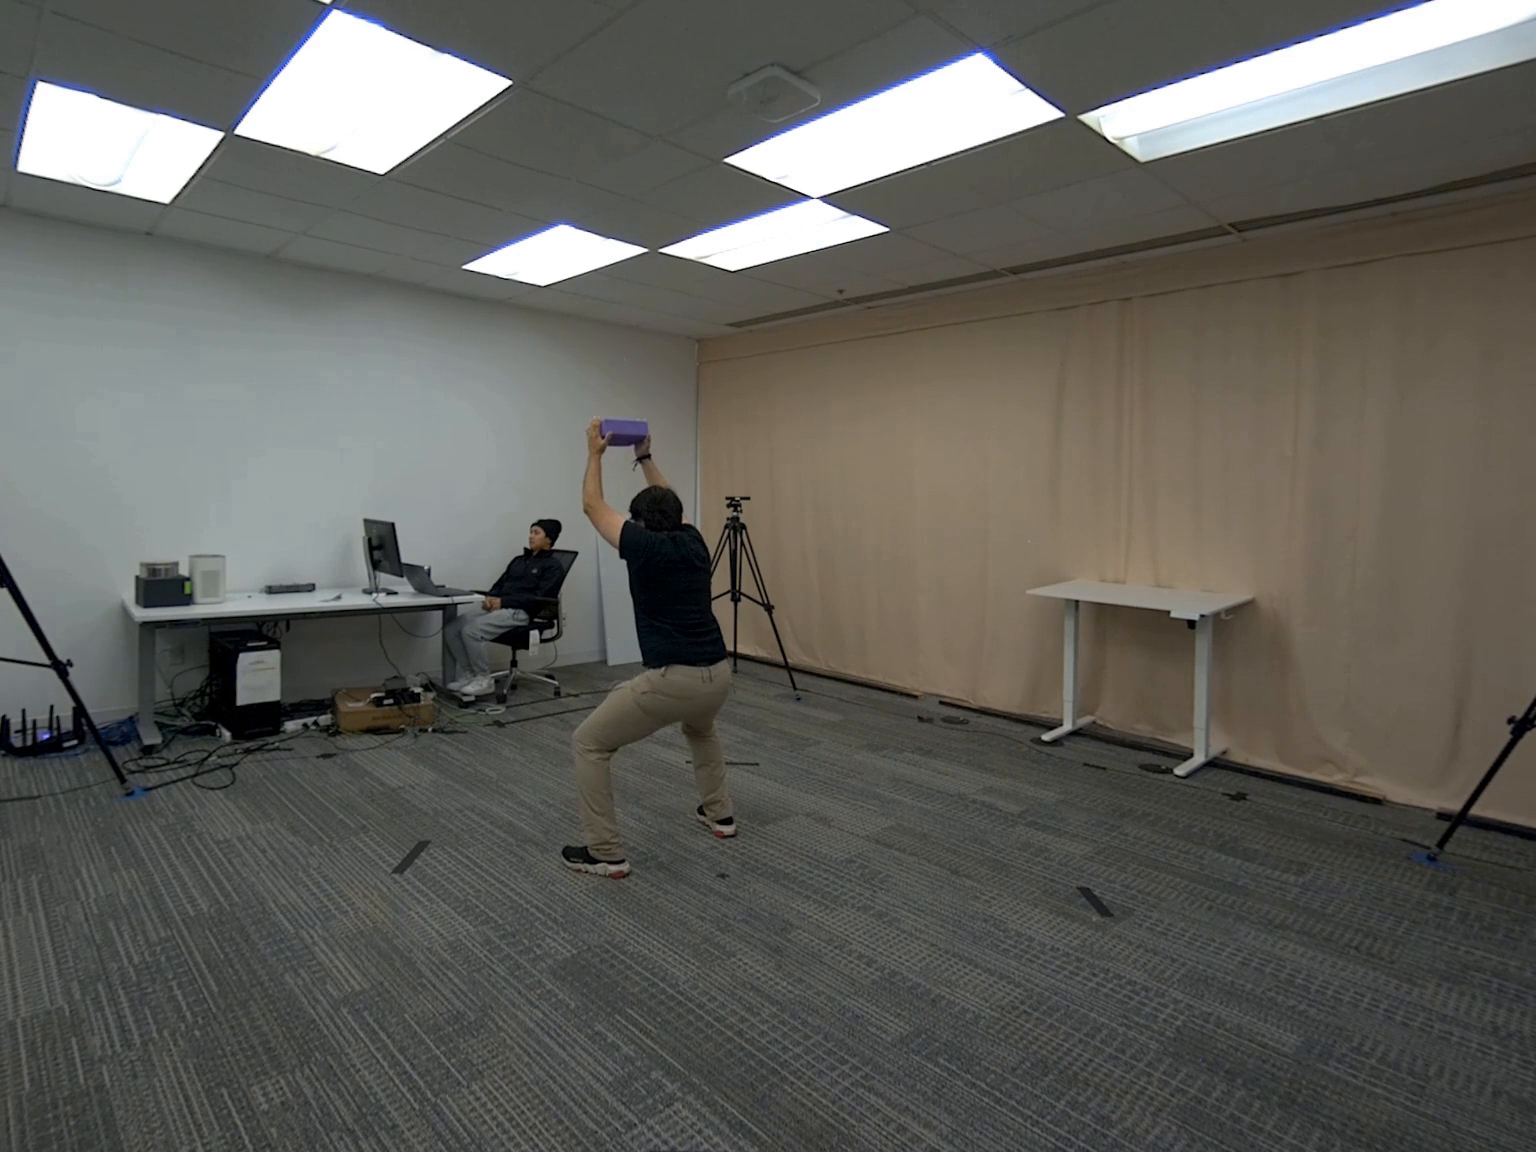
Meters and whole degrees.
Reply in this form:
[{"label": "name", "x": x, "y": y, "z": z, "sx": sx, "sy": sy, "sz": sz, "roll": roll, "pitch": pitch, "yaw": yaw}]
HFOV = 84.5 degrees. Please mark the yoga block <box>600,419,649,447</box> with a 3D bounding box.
[{"label": "yoga block", "x": -0.644, "y": -0.608, "z": 3.556, "sx": 0.151, "sy": 0.077, "sz": 0.224, "roll": -18, "pitch": -7, "yaw": 43}]
